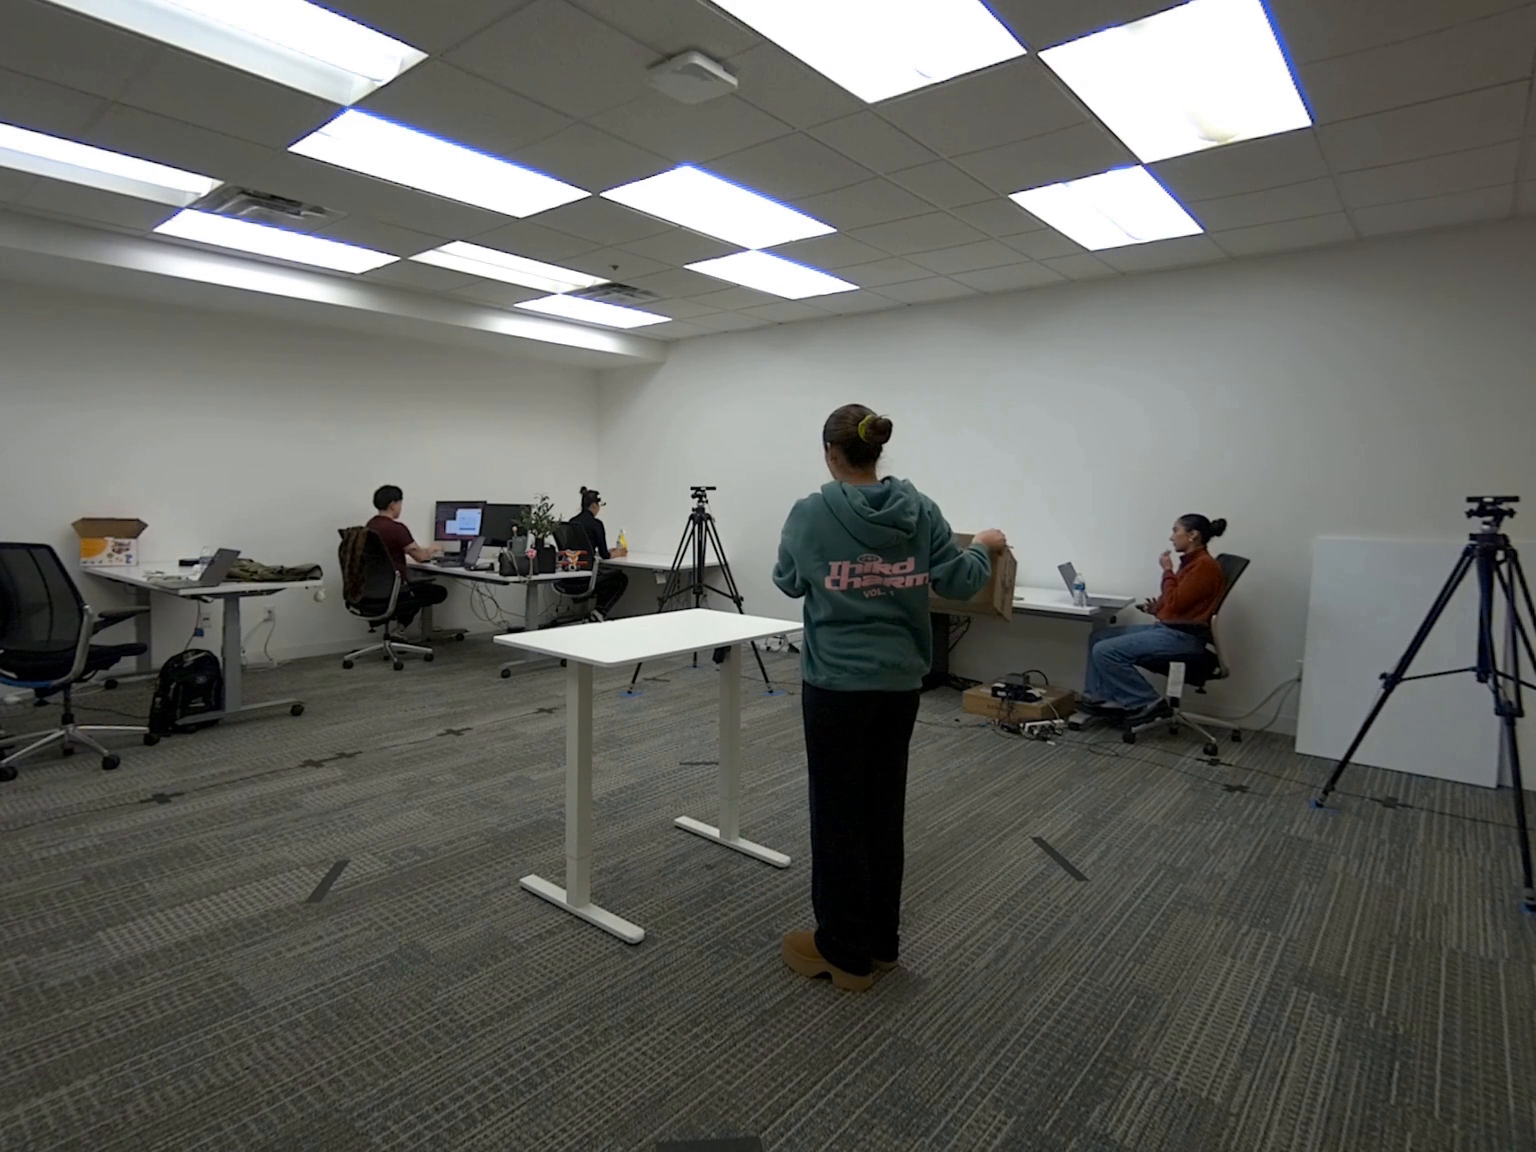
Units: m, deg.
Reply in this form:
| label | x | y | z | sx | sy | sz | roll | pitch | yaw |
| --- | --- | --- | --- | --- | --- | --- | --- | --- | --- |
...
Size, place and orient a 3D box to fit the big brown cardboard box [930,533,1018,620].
| label | x | y | z | sx | sy | sz | roll | pitch | yaw |
| --- | --- | --- | --- | --- | --- | --- | --- | --- | --- |
| big brown cardboard box | 0.497 | -0.013 | 2.868 | 0.606 | 0.234 | 0.404 | 8 | -7 | 26 |
